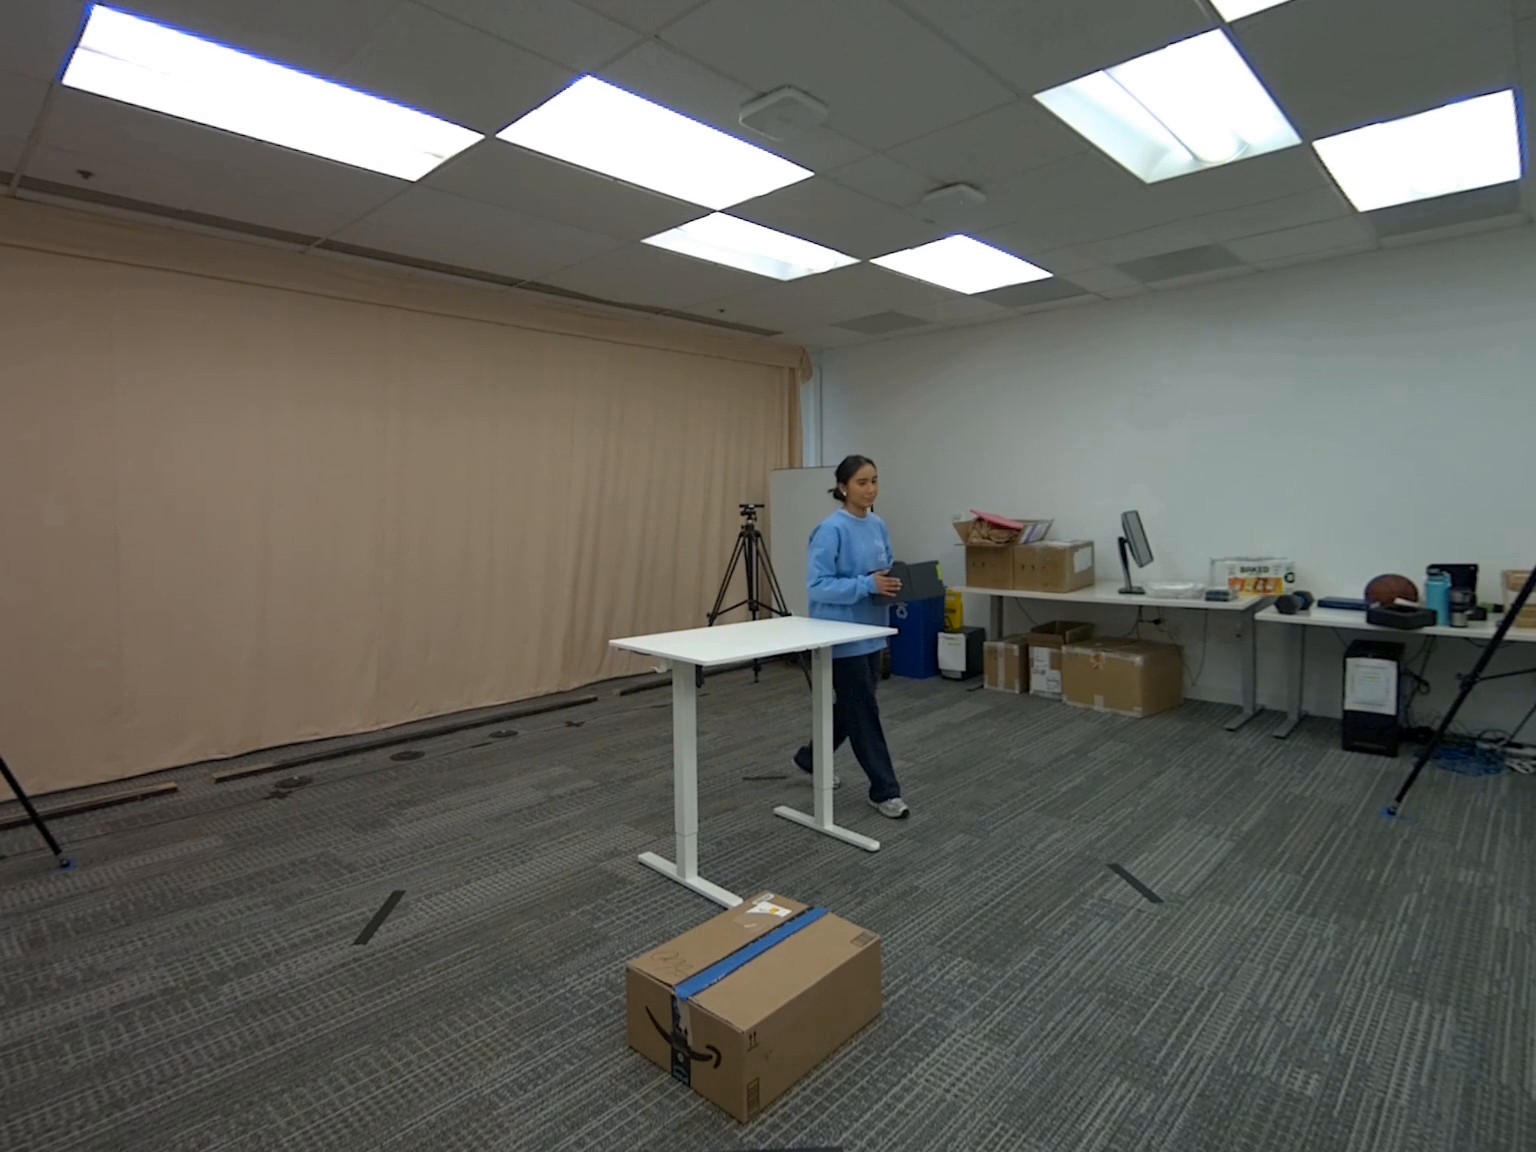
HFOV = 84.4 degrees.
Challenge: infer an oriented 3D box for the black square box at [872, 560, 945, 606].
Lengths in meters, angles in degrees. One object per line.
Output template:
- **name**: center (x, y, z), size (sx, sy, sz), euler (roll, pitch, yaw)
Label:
- **black square box**: center (0.599, 0.025, 3.667), size (0.211, 0.156, 0.234), euler (-7, -3, -36)
